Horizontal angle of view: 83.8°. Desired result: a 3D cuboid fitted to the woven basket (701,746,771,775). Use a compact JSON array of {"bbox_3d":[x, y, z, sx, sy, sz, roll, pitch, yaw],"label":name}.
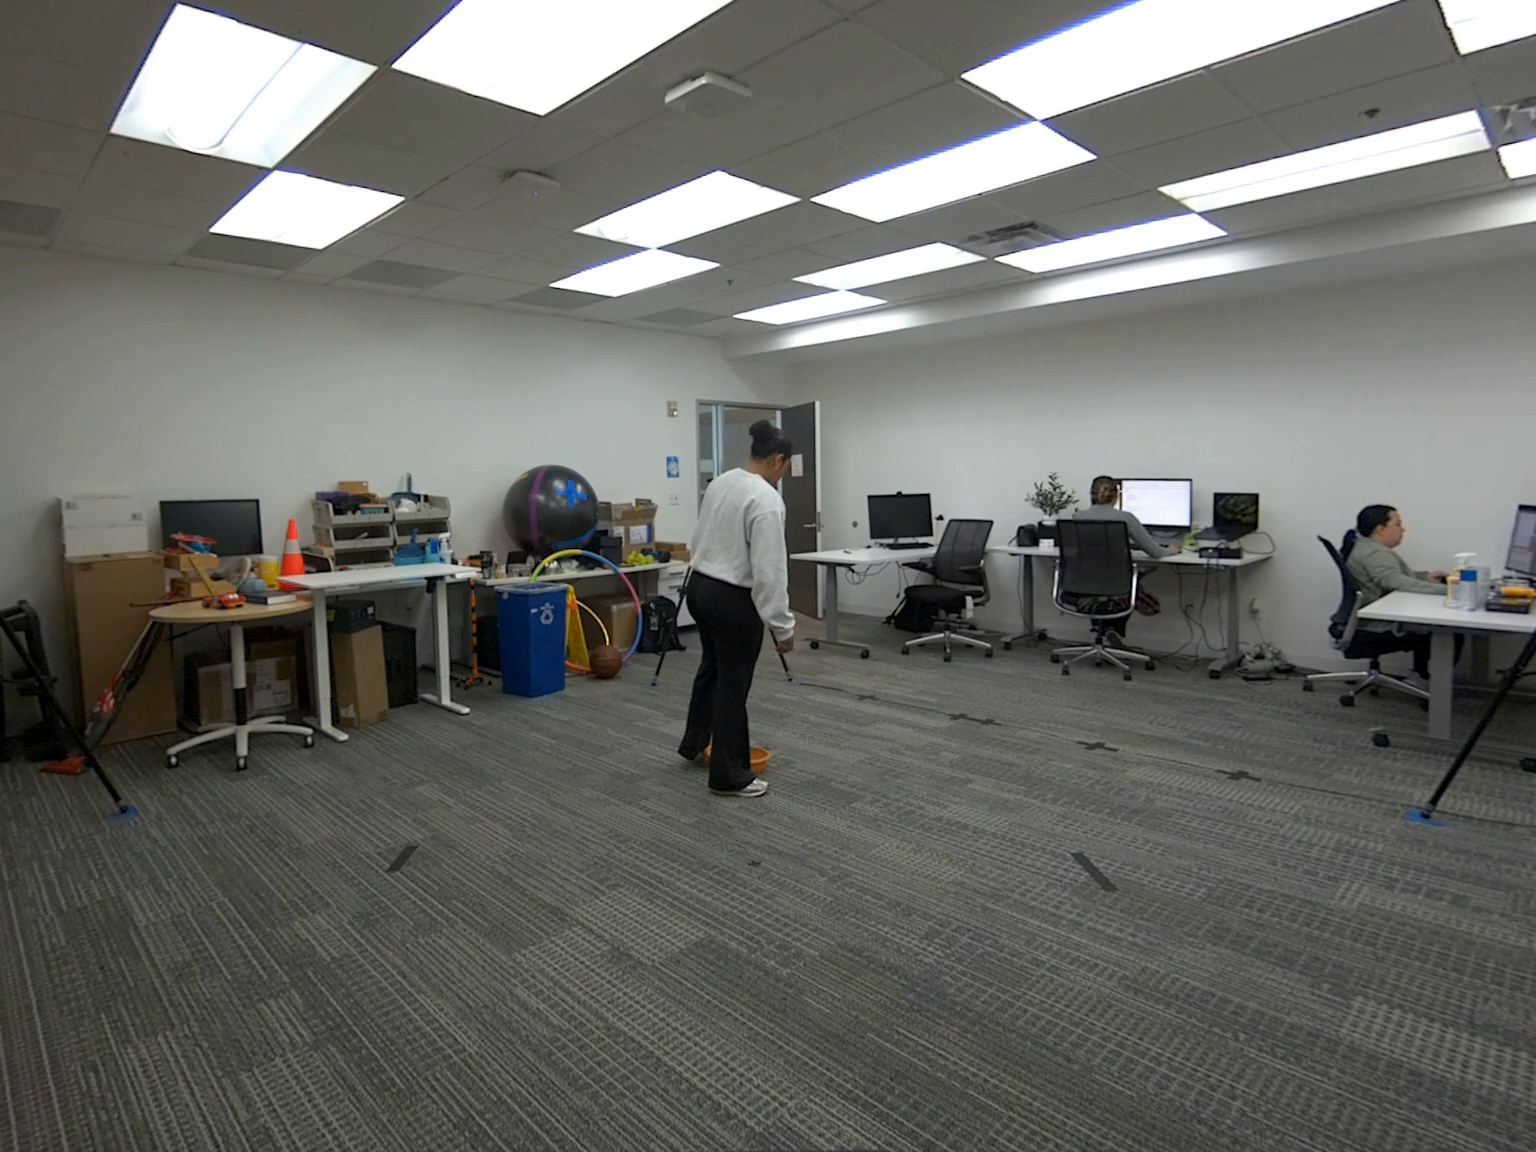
[{"bbox_3d":[-0.134,0.889,4.139,0.361,0.073,0.246,4,8,40],"label":"woven basket"}]
